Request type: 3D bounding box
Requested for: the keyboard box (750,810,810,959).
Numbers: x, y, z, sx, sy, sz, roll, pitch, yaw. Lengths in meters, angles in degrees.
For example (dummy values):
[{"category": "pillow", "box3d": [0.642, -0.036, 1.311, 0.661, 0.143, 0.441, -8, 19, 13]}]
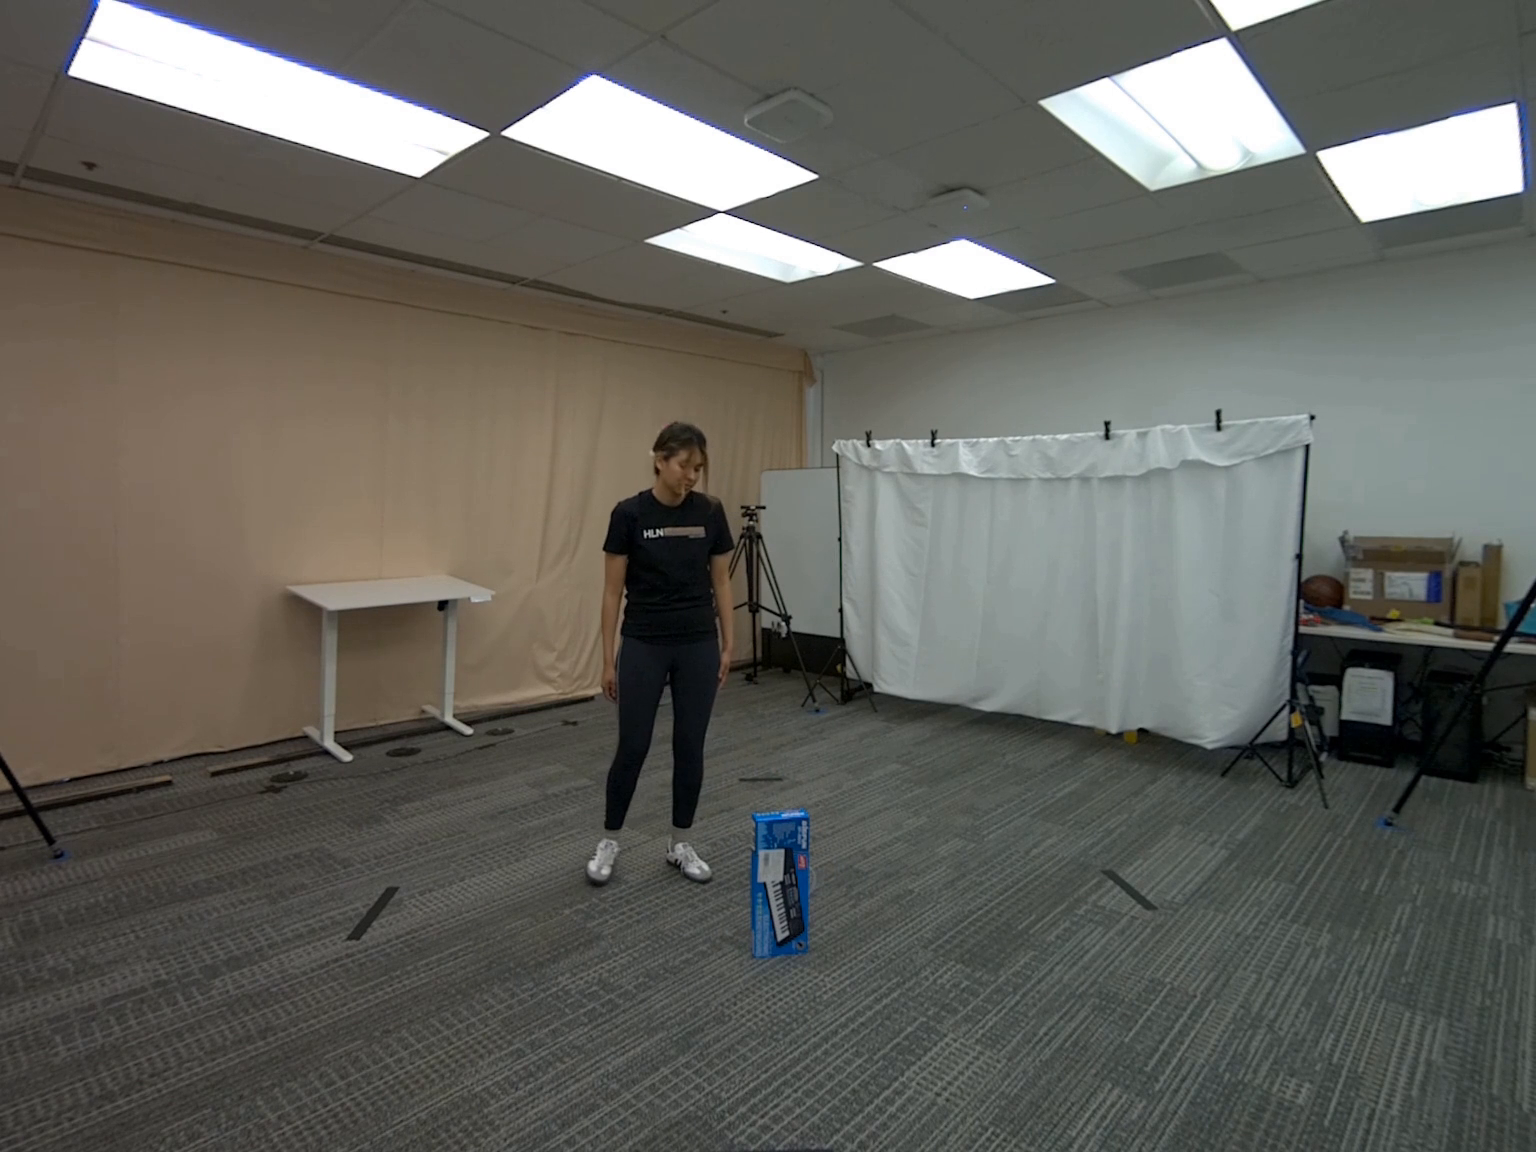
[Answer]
[{"category": "keyboard box", "box3d": [0.038, 0.956, 2.615, 0.174, 0.435, 0.060, 0, 5, -12]}]
